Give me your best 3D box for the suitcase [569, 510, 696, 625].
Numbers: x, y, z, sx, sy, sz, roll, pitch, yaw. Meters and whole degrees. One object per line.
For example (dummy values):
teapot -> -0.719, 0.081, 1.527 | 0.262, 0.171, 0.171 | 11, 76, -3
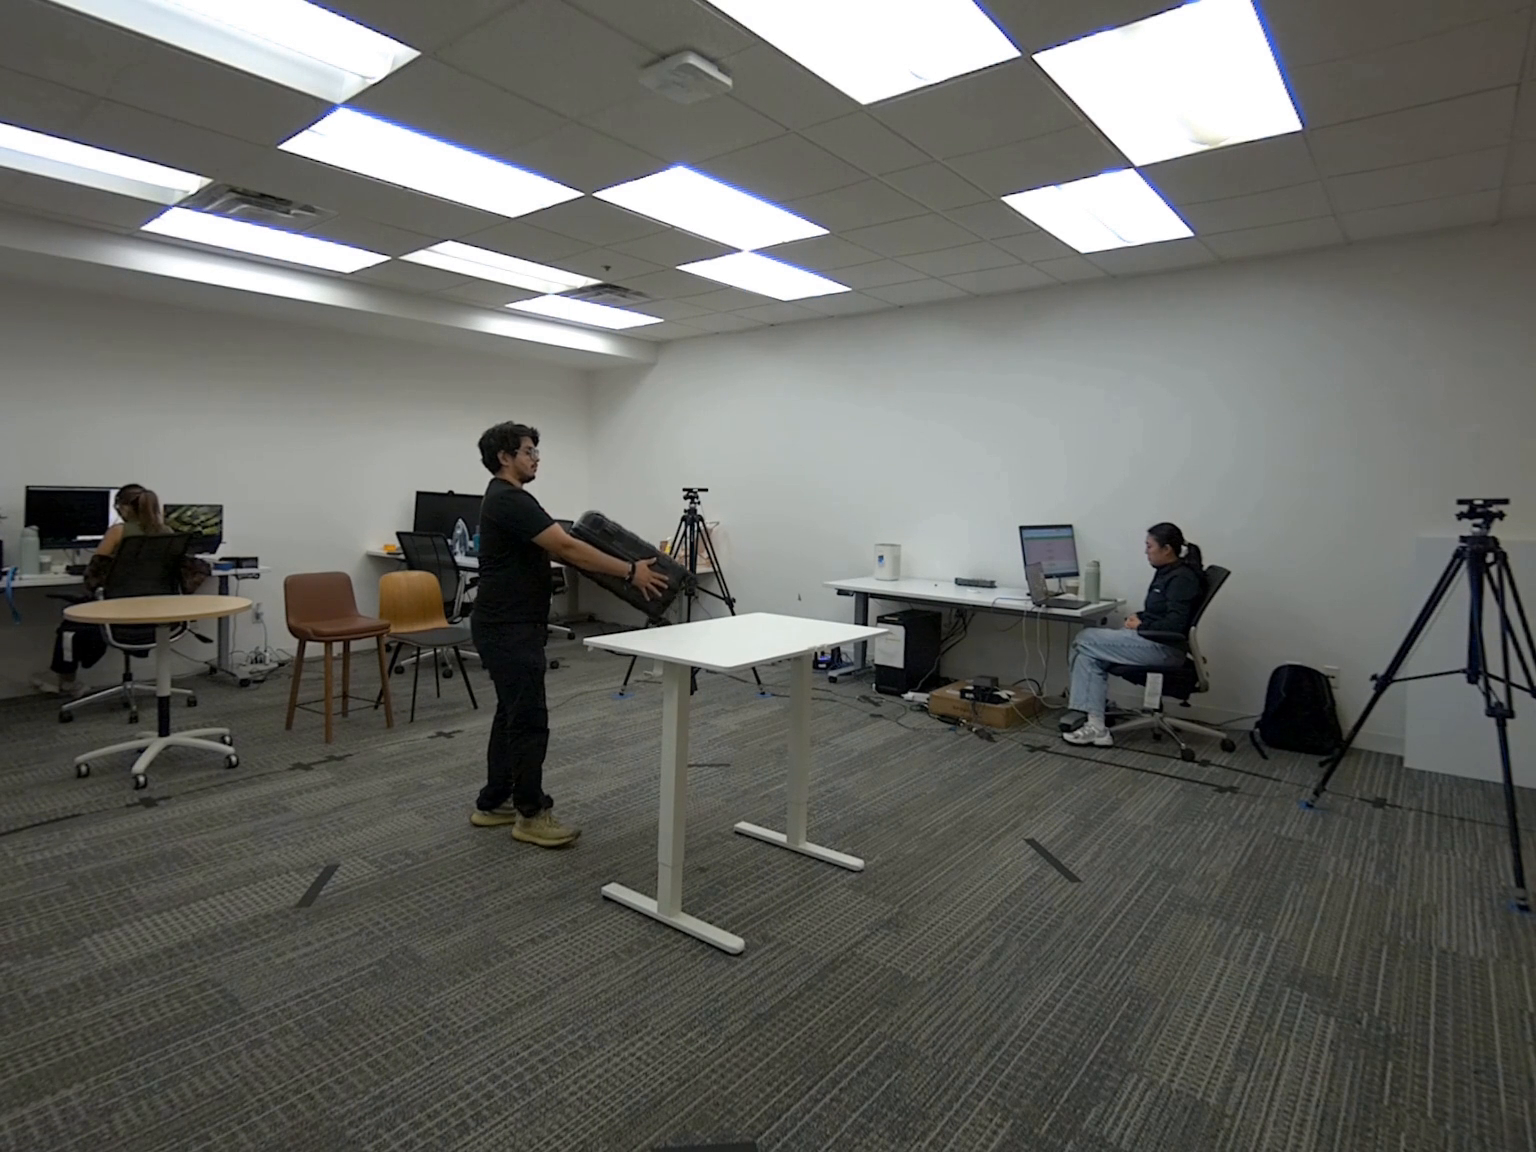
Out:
suitcase -> -0.610, -0.048, 3.548 | 0.544, 0.248, 0.379 | 34, -5, -8
